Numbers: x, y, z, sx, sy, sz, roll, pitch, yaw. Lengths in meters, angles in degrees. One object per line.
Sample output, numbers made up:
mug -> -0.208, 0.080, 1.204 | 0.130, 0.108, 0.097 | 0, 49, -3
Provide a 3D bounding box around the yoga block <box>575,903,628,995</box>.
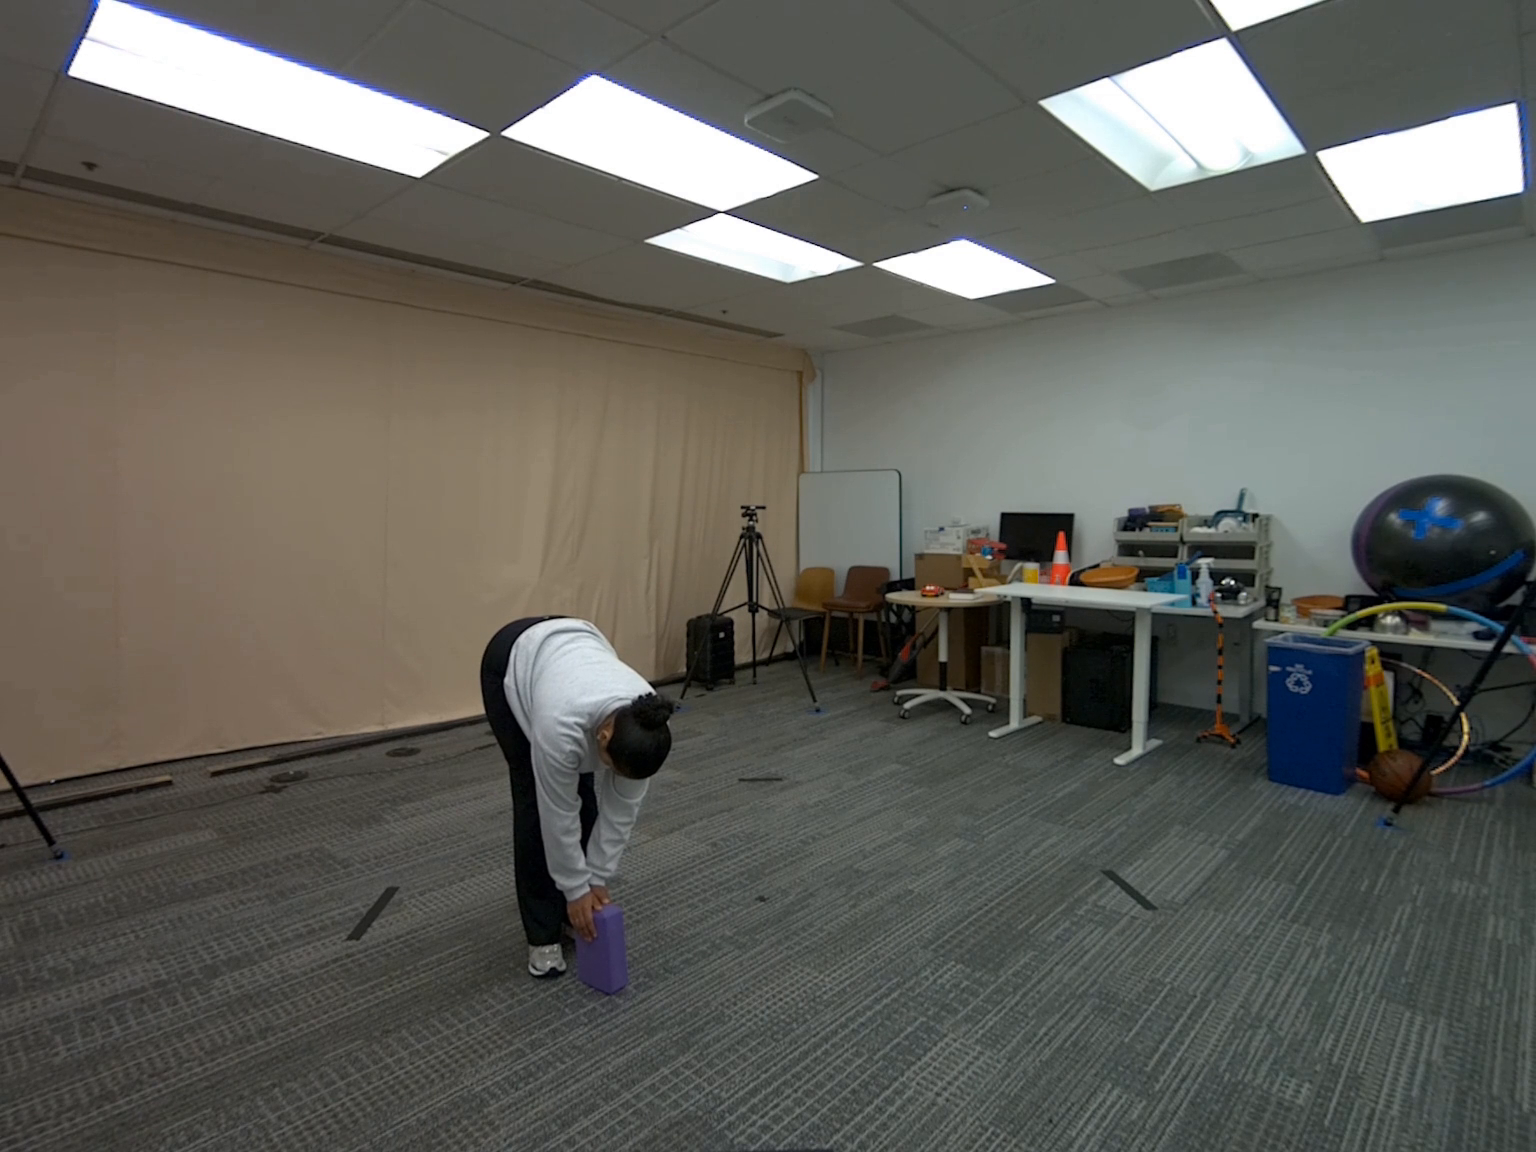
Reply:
yoga block -> -0.487, 1.074, 2.450 | 0.154, 0.229, 0.074 | -1, 5, 41
